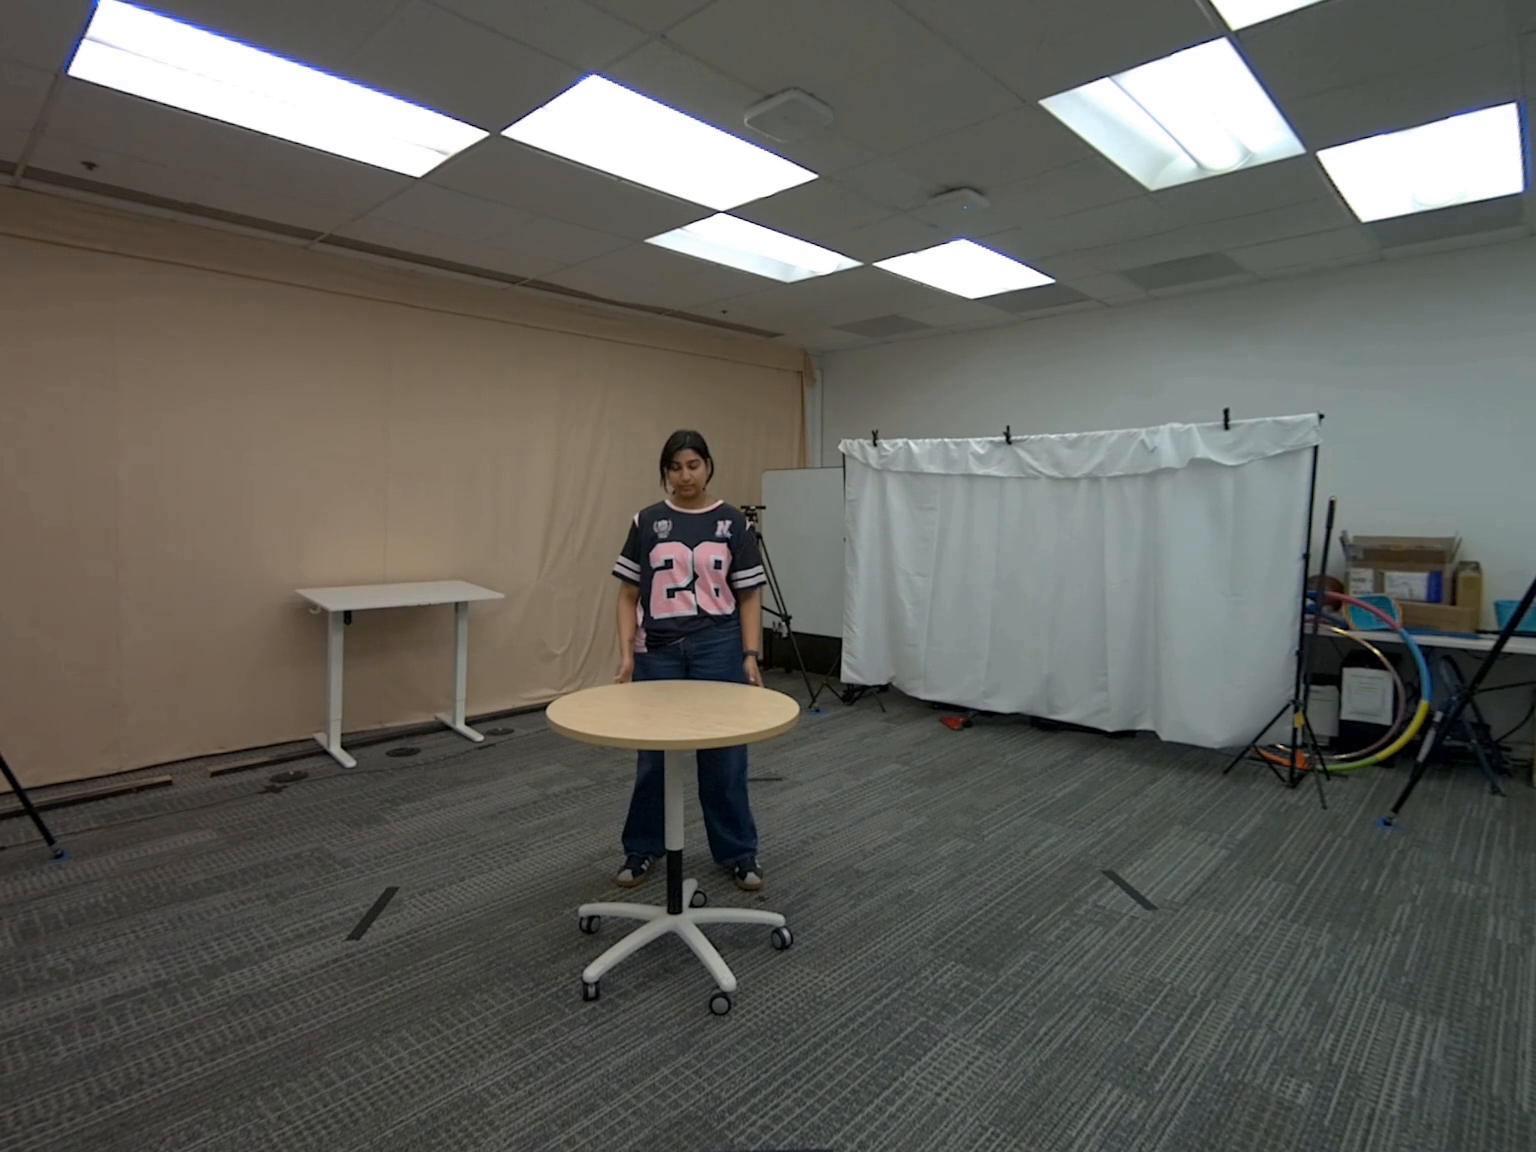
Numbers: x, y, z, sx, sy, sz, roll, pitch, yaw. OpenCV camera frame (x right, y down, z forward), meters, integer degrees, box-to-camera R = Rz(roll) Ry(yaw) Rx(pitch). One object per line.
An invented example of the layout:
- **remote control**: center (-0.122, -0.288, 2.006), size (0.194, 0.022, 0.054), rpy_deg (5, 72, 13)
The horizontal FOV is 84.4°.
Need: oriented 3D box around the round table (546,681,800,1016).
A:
- **round table**: center (-0.292, 0.787, 2.589), size (0.763, 0.792, 0.766), rpy_deg (0, 4, -2)
